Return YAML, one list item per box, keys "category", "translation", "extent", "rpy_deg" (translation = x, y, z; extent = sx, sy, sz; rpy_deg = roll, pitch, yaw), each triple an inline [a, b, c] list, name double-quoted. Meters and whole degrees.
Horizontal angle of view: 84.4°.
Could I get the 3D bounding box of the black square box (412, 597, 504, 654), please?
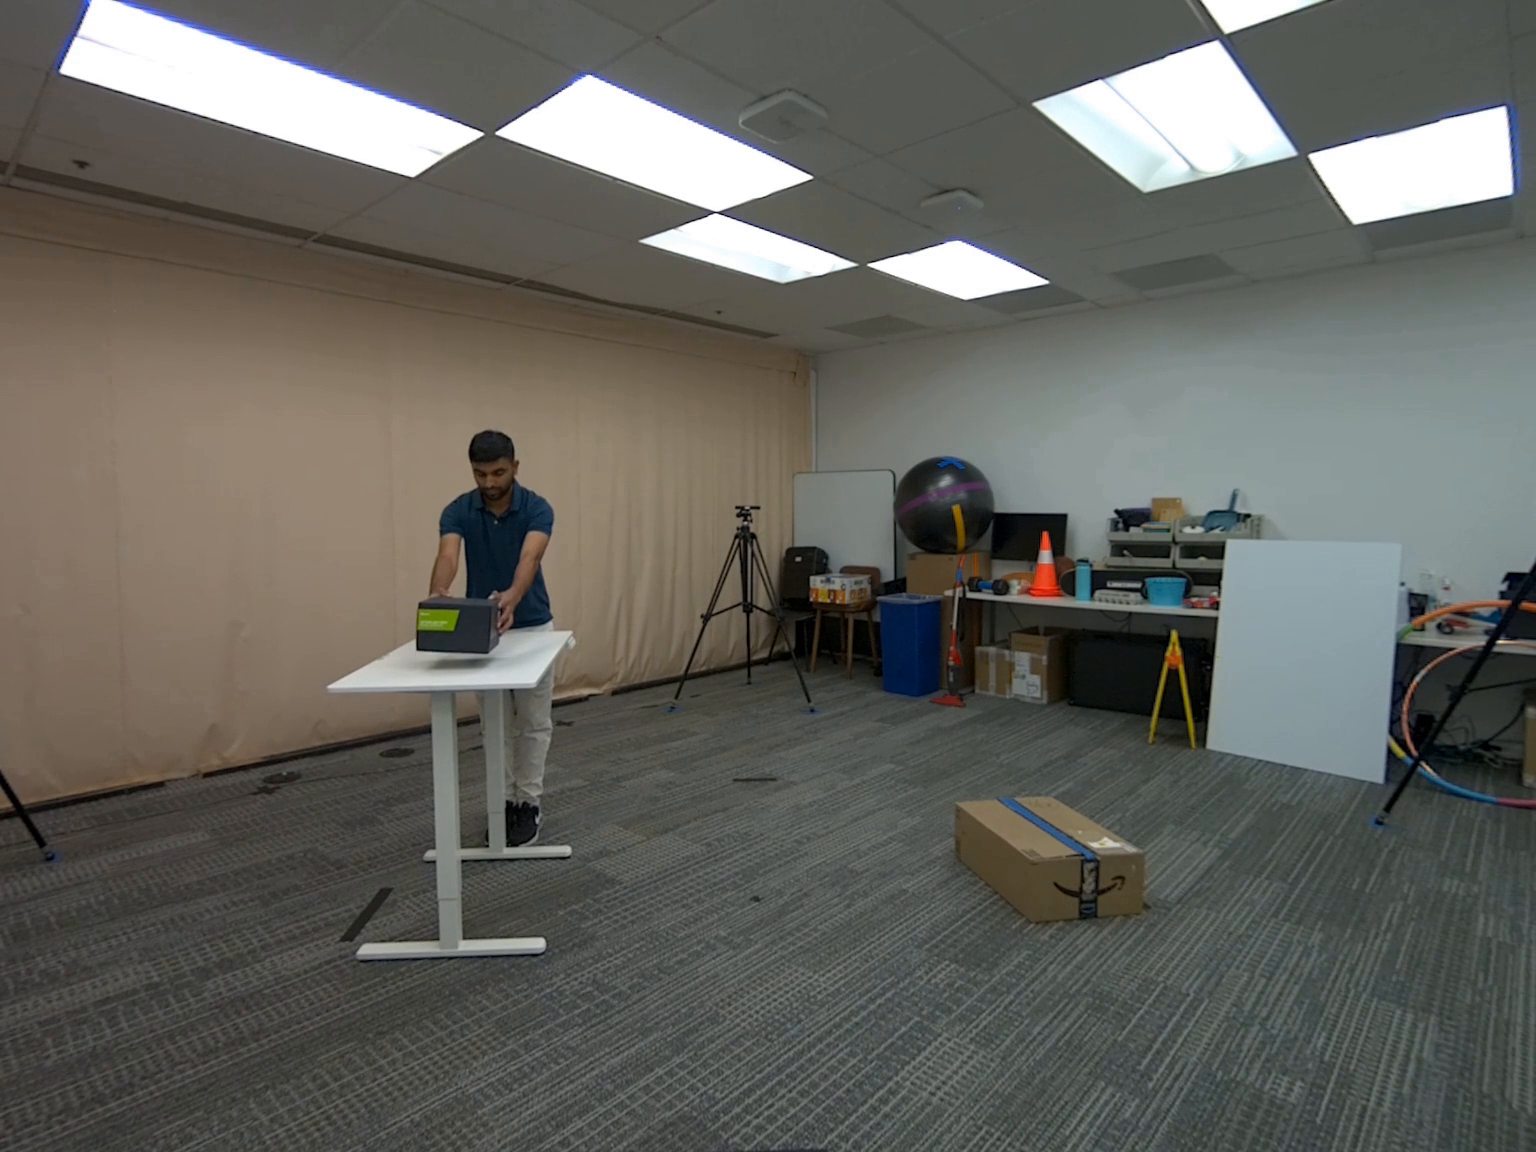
- category: "black square box"
  translation: [-1.004, 0.155, 2.755]
  extent: [0.228, 0.156, 0.217]
  rpy_deg: [1, 2, -1]
